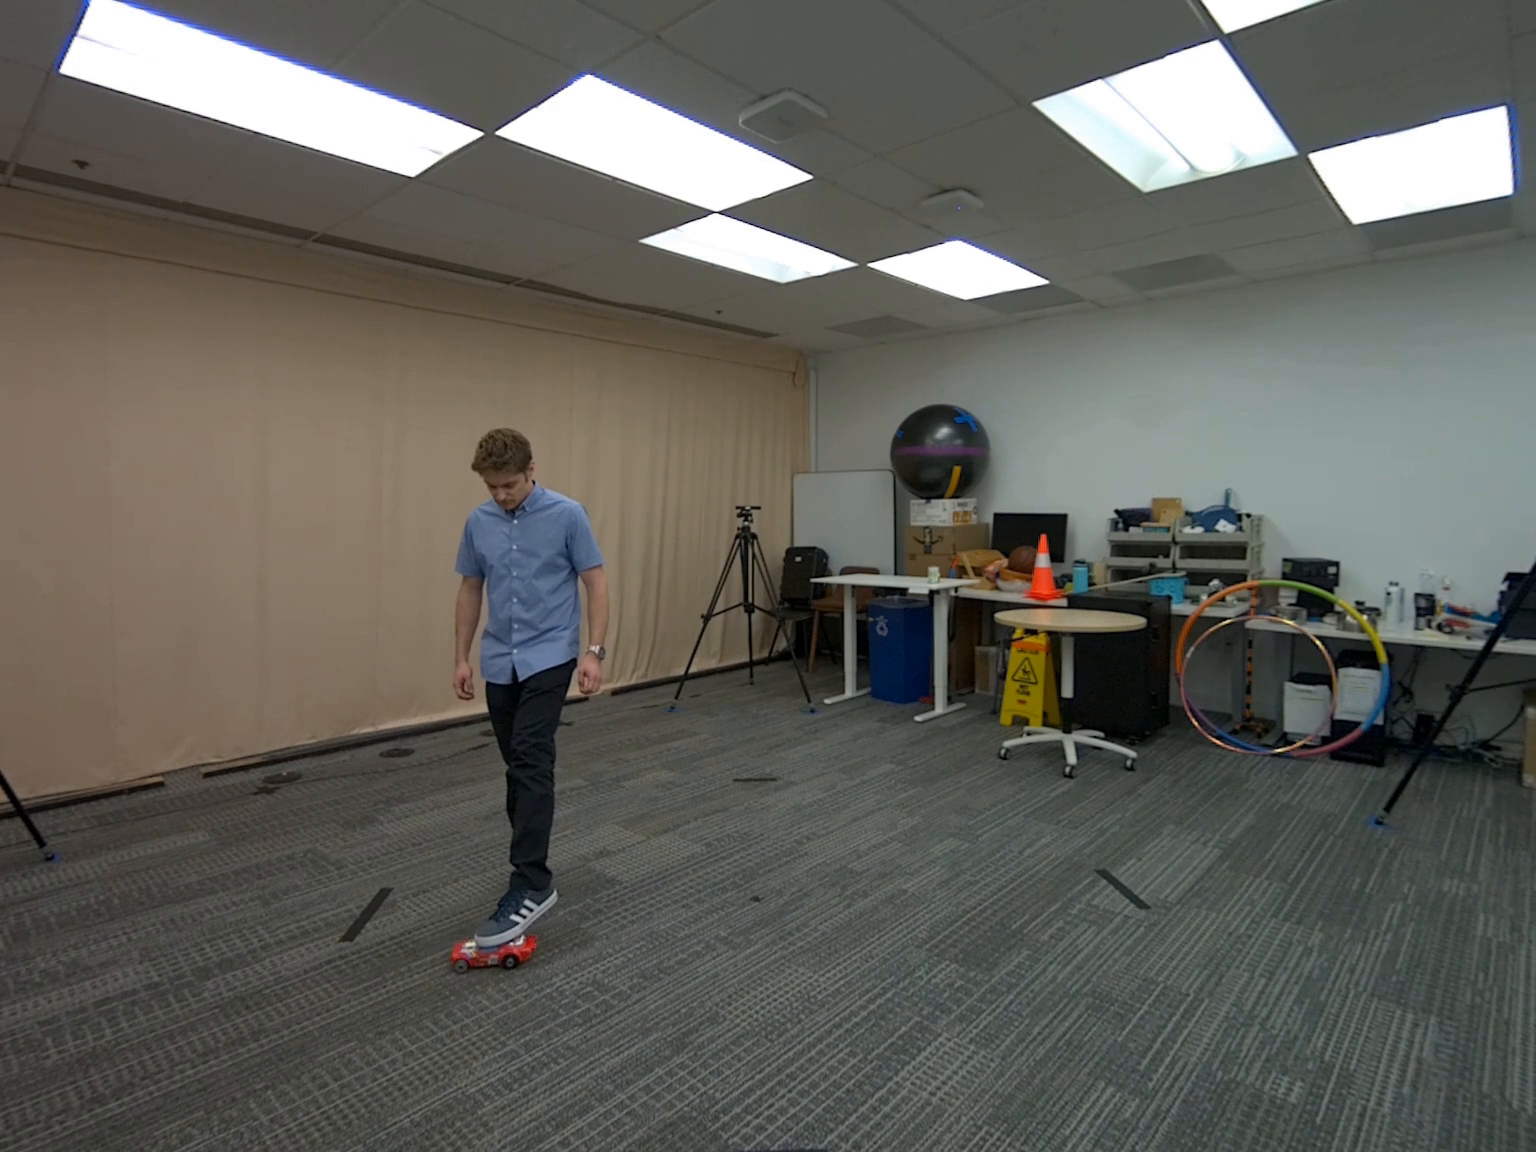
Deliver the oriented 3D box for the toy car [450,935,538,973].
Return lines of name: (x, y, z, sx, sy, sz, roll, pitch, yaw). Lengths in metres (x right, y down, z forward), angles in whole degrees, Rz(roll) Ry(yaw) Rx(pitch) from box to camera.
toy car: (-0.838, 1.157, 2.574, 0.253, 0.083, 0.131, -11, 4, -6)
